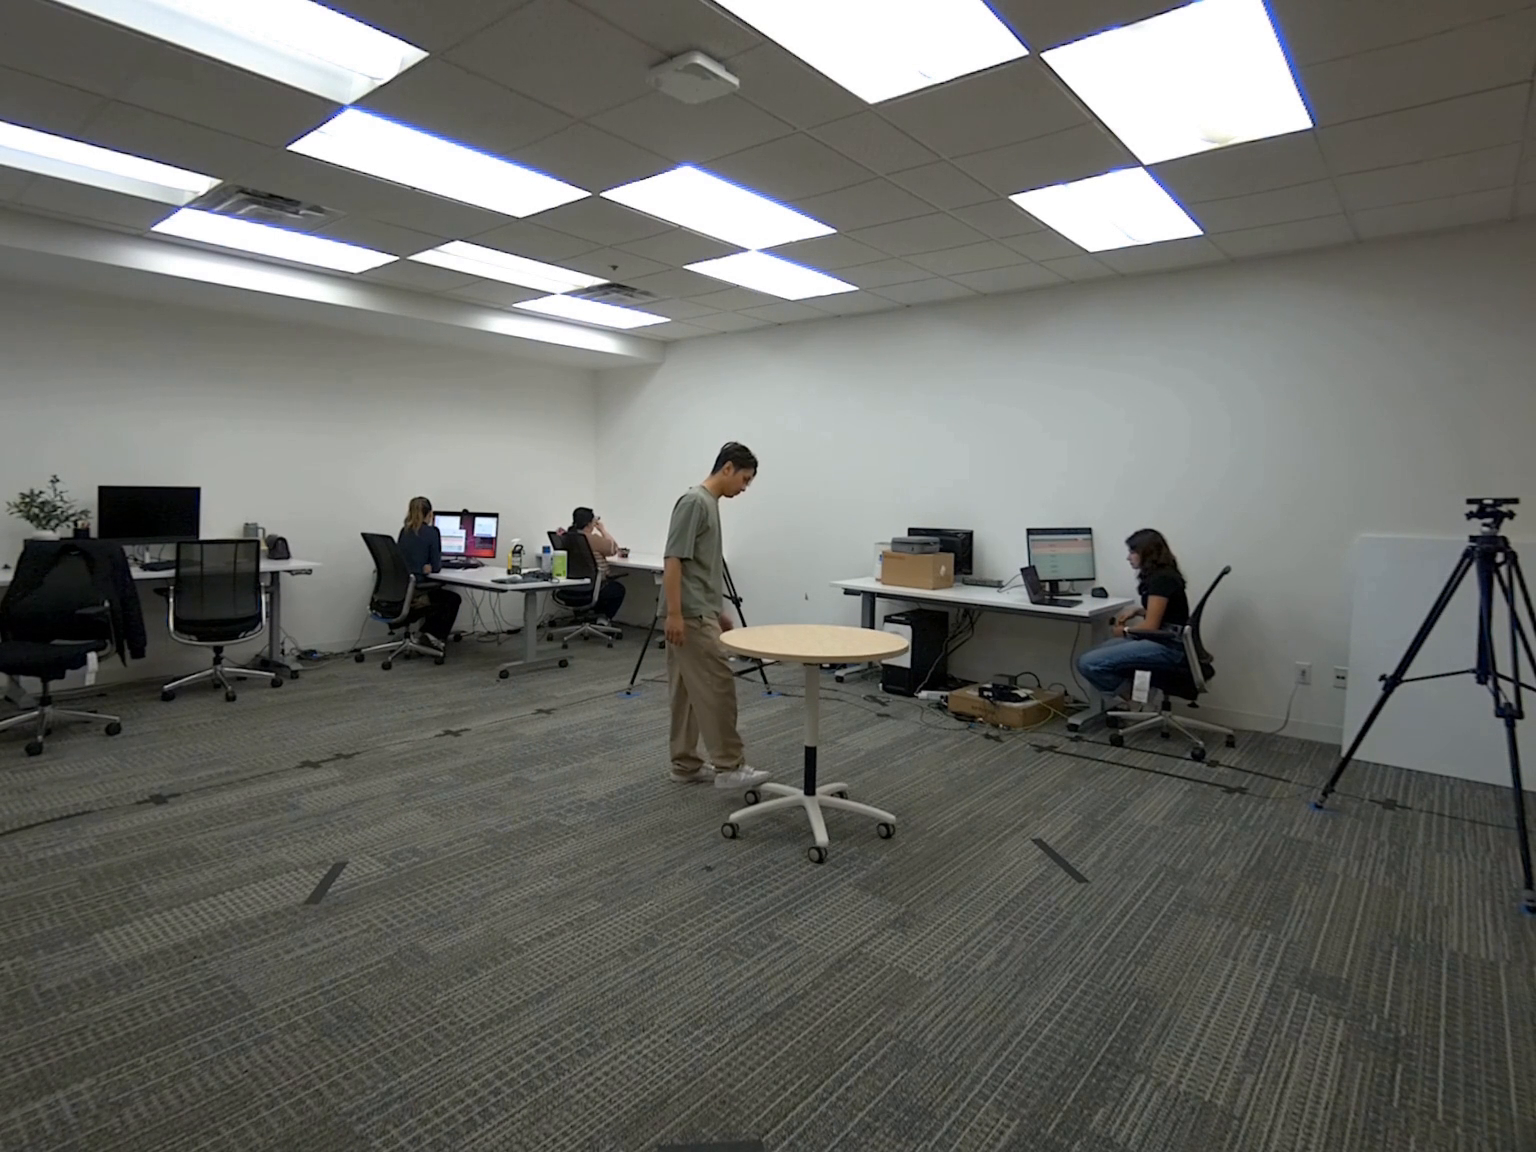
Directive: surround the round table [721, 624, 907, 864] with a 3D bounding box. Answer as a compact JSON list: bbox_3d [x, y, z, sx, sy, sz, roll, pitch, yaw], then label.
[{"bbox_3d":[0.151,0.642,3.488,0.784,0.784,0.789,1,4,-2],"label":"round table"}]
